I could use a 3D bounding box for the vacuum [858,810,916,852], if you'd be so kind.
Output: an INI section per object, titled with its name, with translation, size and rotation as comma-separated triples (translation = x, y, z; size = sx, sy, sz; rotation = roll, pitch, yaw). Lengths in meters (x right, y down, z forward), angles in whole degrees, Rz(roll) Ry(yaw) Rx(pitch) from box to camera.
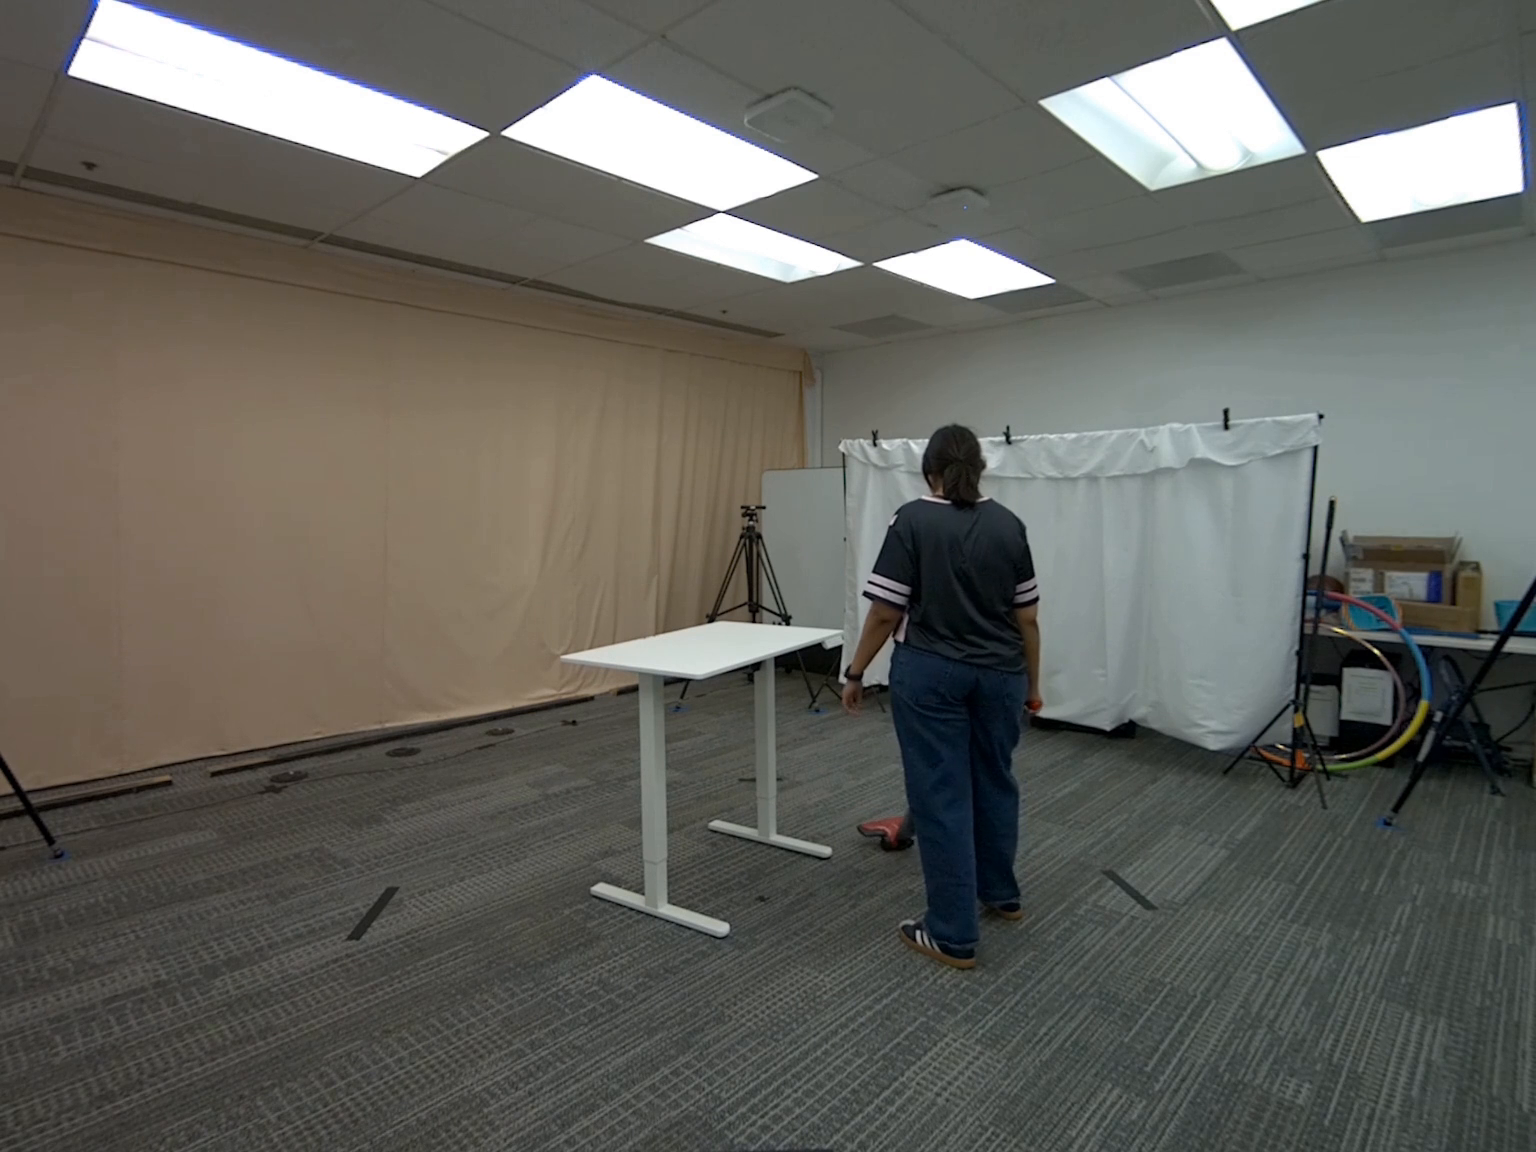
[vacuum]
translation = 0.696, 0.751, 3.099
size = 0.246, 0.148, 1.048
rotation = -4, -36, -31
